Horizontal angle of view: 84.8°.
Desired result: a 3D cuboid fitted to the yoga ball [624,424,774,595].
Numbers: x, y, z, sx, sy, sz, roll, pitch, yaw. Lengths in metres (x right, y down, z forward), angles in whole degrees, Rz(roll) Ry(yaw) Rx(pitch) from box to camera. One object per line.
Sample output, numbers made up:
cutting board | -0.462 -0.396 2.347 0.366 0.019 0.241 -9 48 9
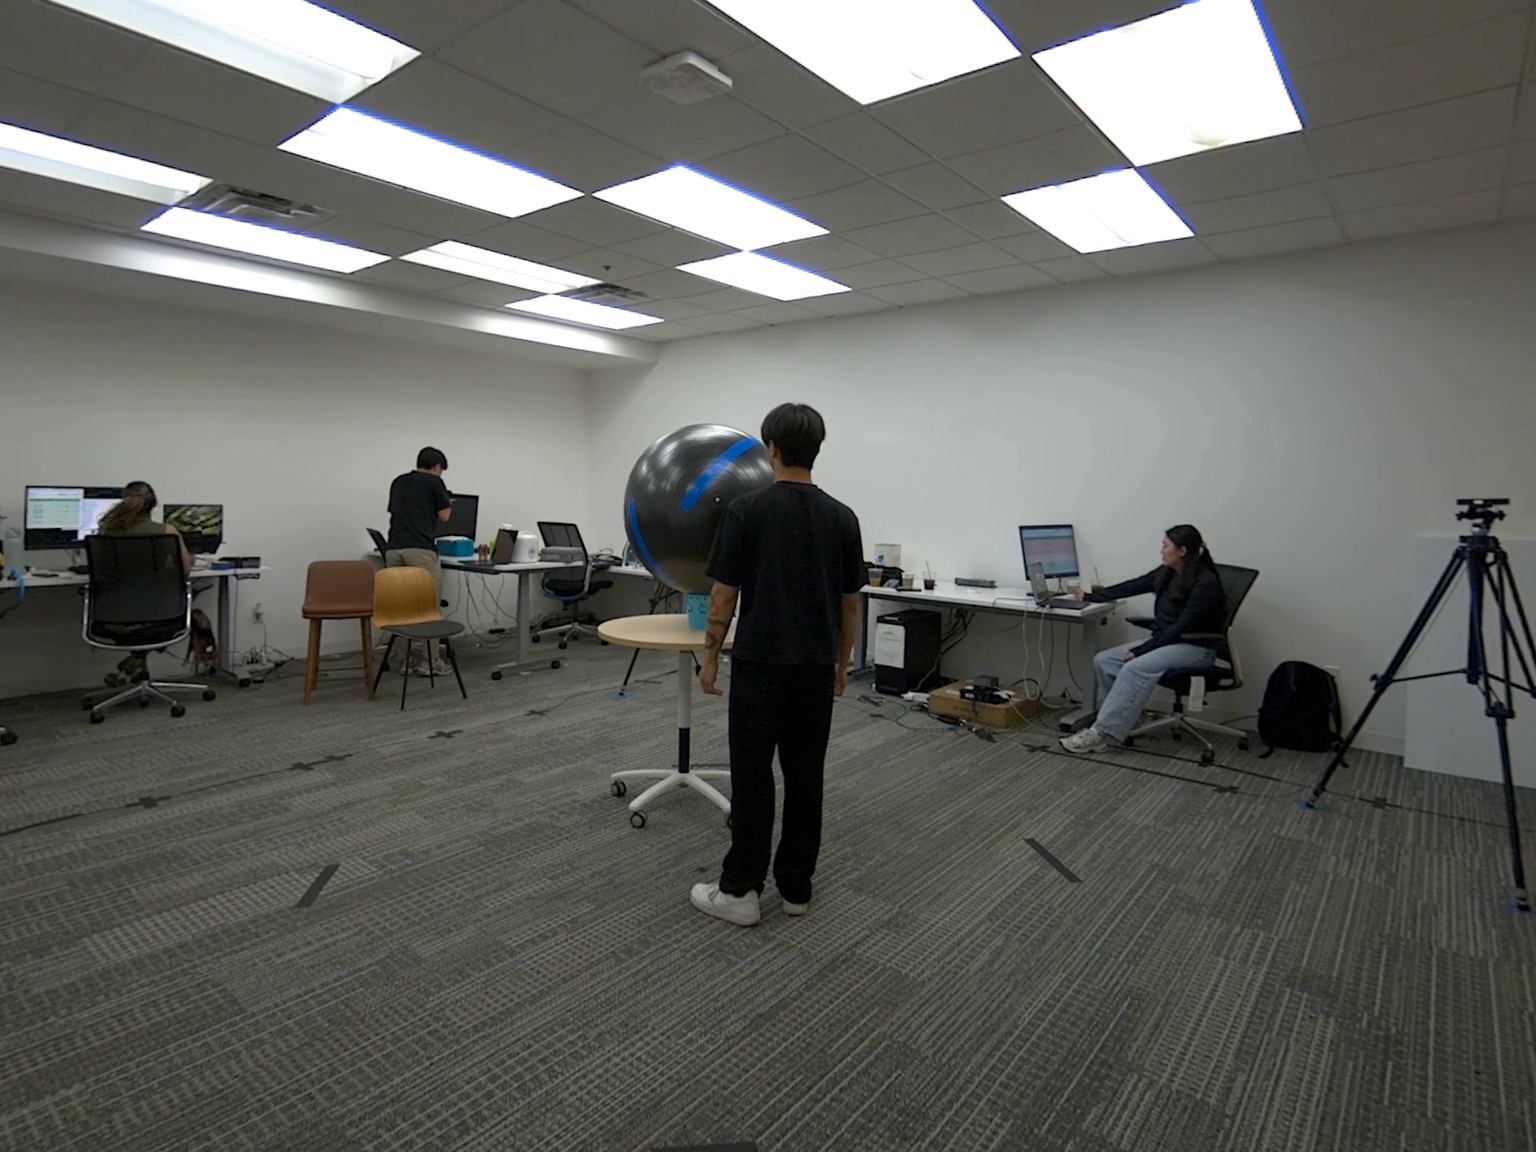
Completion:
yoga ball | -0.272 -0.290 3.760 0.757 0.755 0.762 1 4 -2
